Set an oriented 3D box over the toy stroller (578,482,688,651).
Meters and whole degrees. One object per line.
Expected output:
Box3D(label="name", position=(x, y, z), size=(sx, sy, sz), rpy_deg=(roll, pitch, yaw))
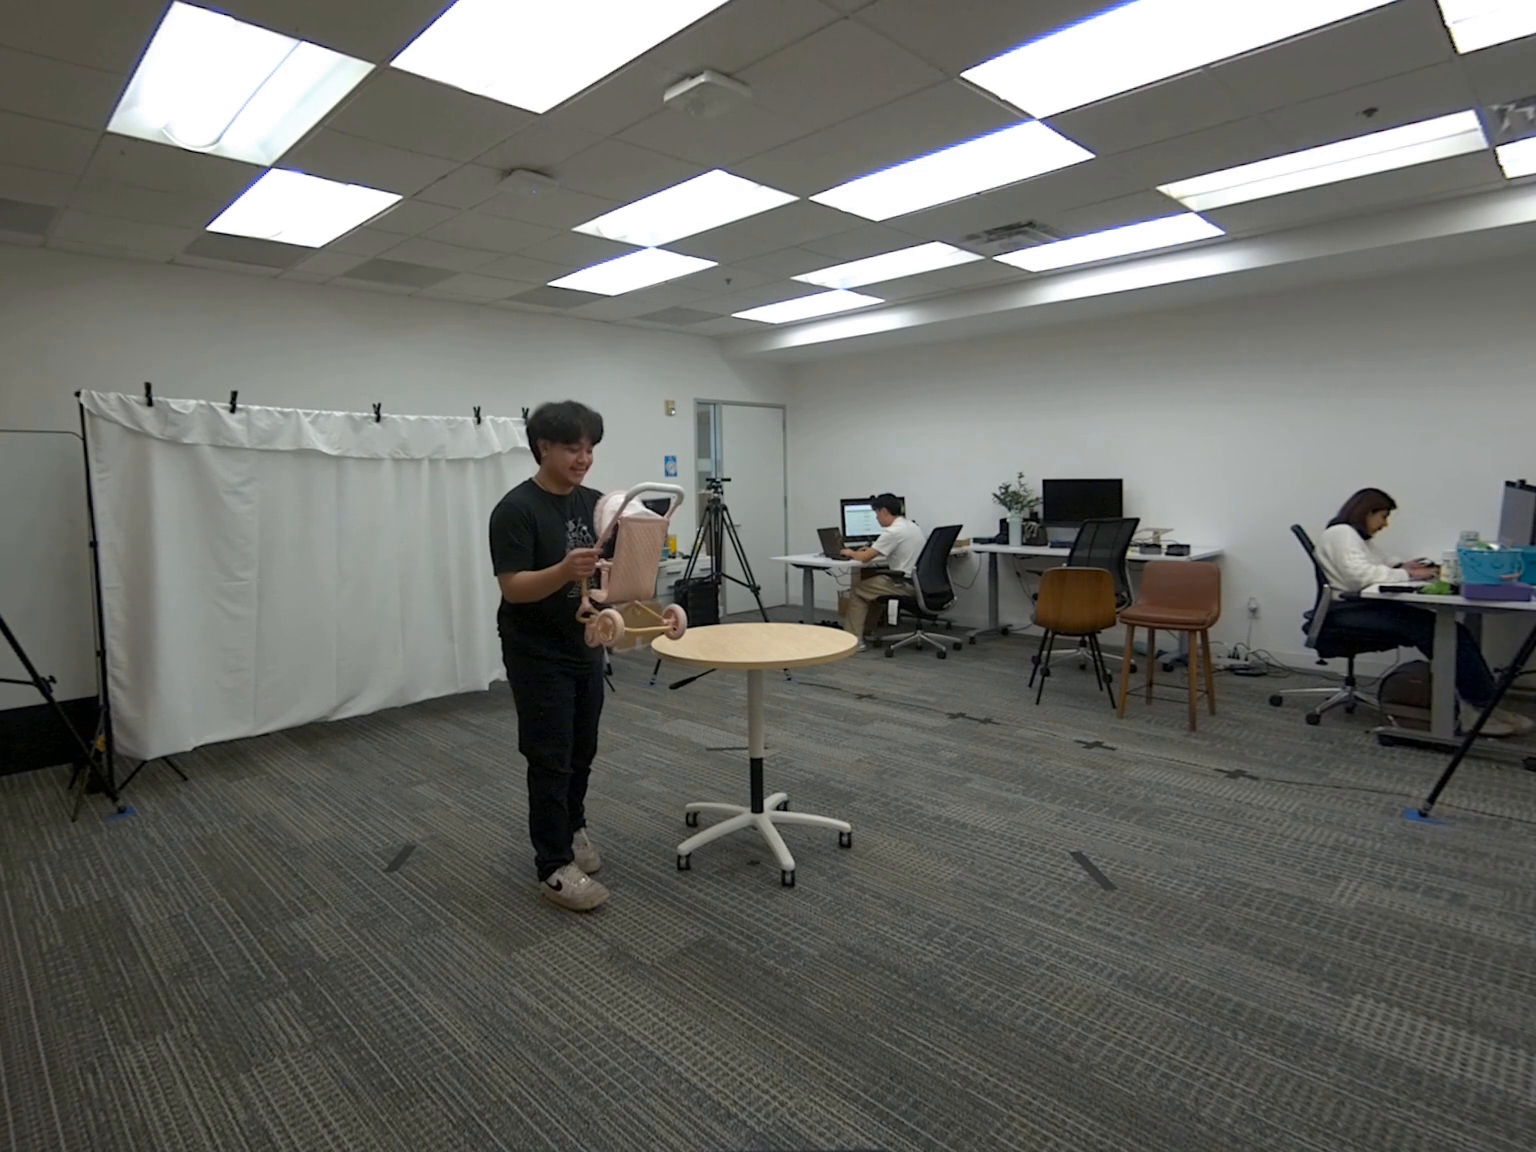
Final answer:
Box3D(label="toy stroller", position=(-0.434, -0.020, 2.601), size=(0.273, 0.533, 0.352), rpy_deg=(-1, 5, -43))
